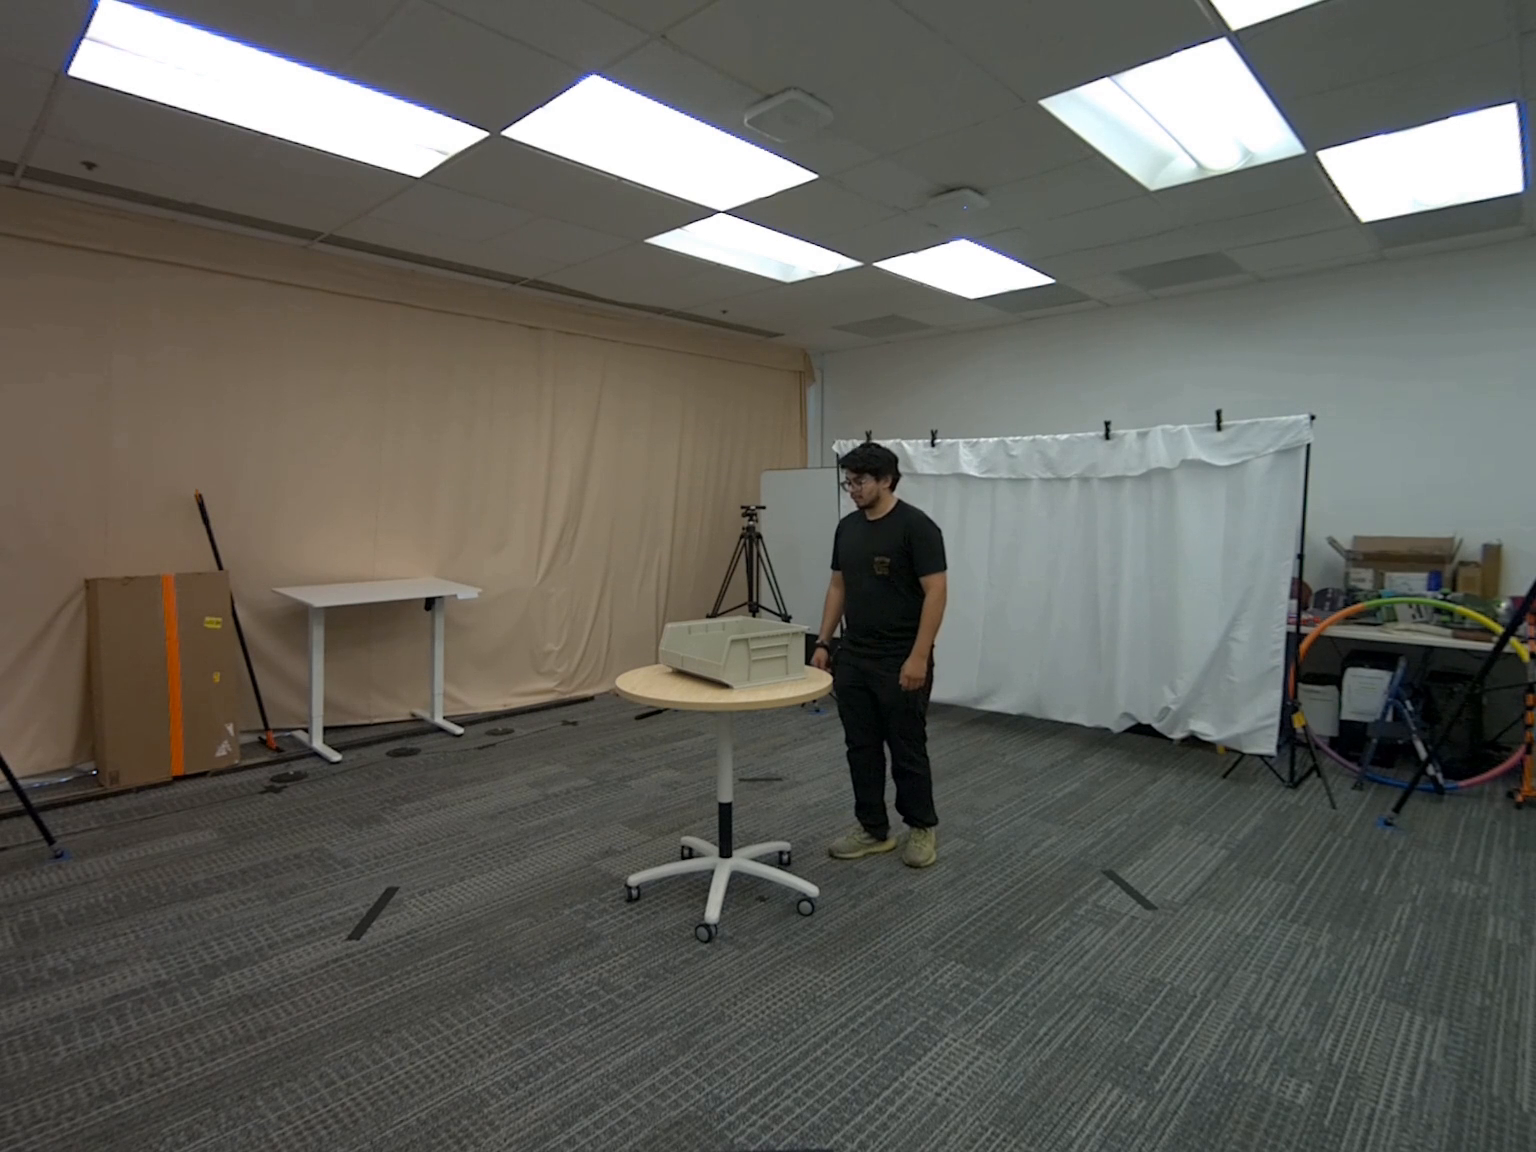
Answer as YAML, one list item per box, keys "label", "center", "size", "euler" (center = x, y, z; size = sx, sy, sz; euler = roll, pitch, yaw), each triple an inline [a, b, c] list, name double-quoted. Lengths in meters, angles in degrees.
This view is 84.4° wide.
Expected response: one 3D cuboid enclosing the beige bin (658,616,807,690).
- label: "beige bin"
  center: [-0.127, 0.270, 3.028]
  size: [0.366, 0.188, 0.435]
  euler: [-3, 4, -36]
